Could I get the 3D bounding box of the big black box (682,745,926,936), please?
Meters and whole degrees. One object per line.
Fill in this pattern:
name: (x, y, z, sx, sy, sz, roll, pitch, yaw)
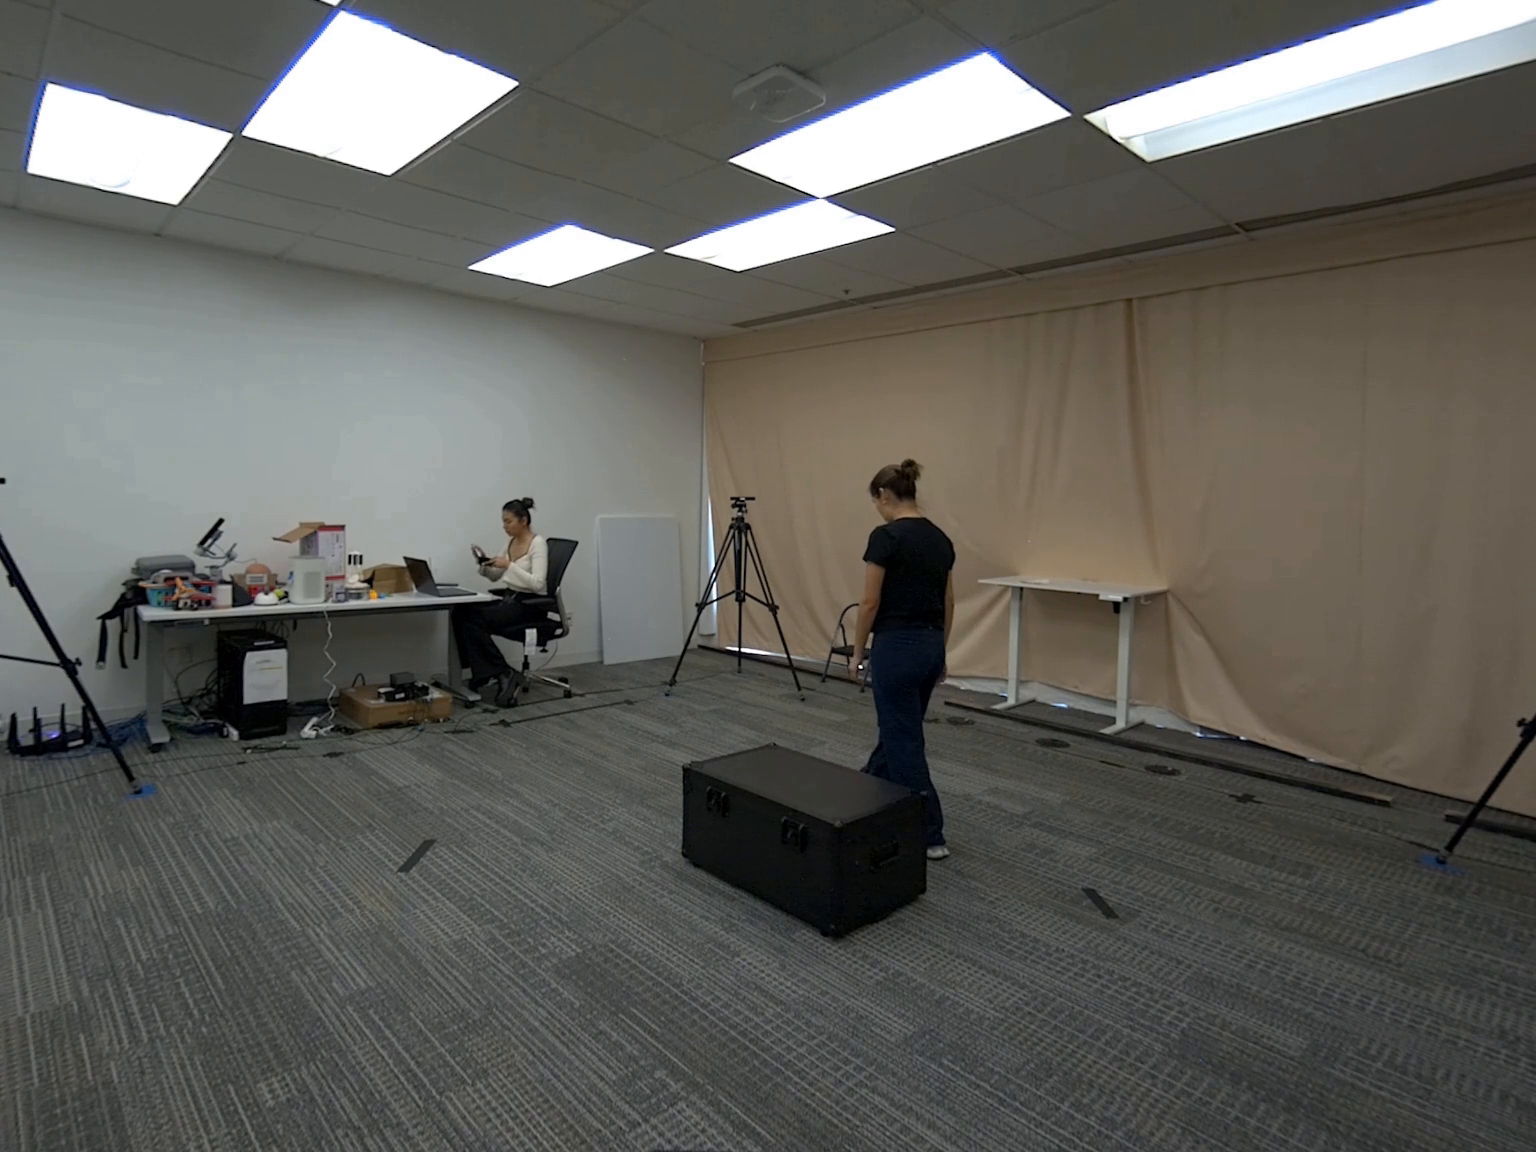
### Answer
big black box: (0.093, 0.926, 3.084, 0.509, 0.395, 0.884, -2, 6, -44)
